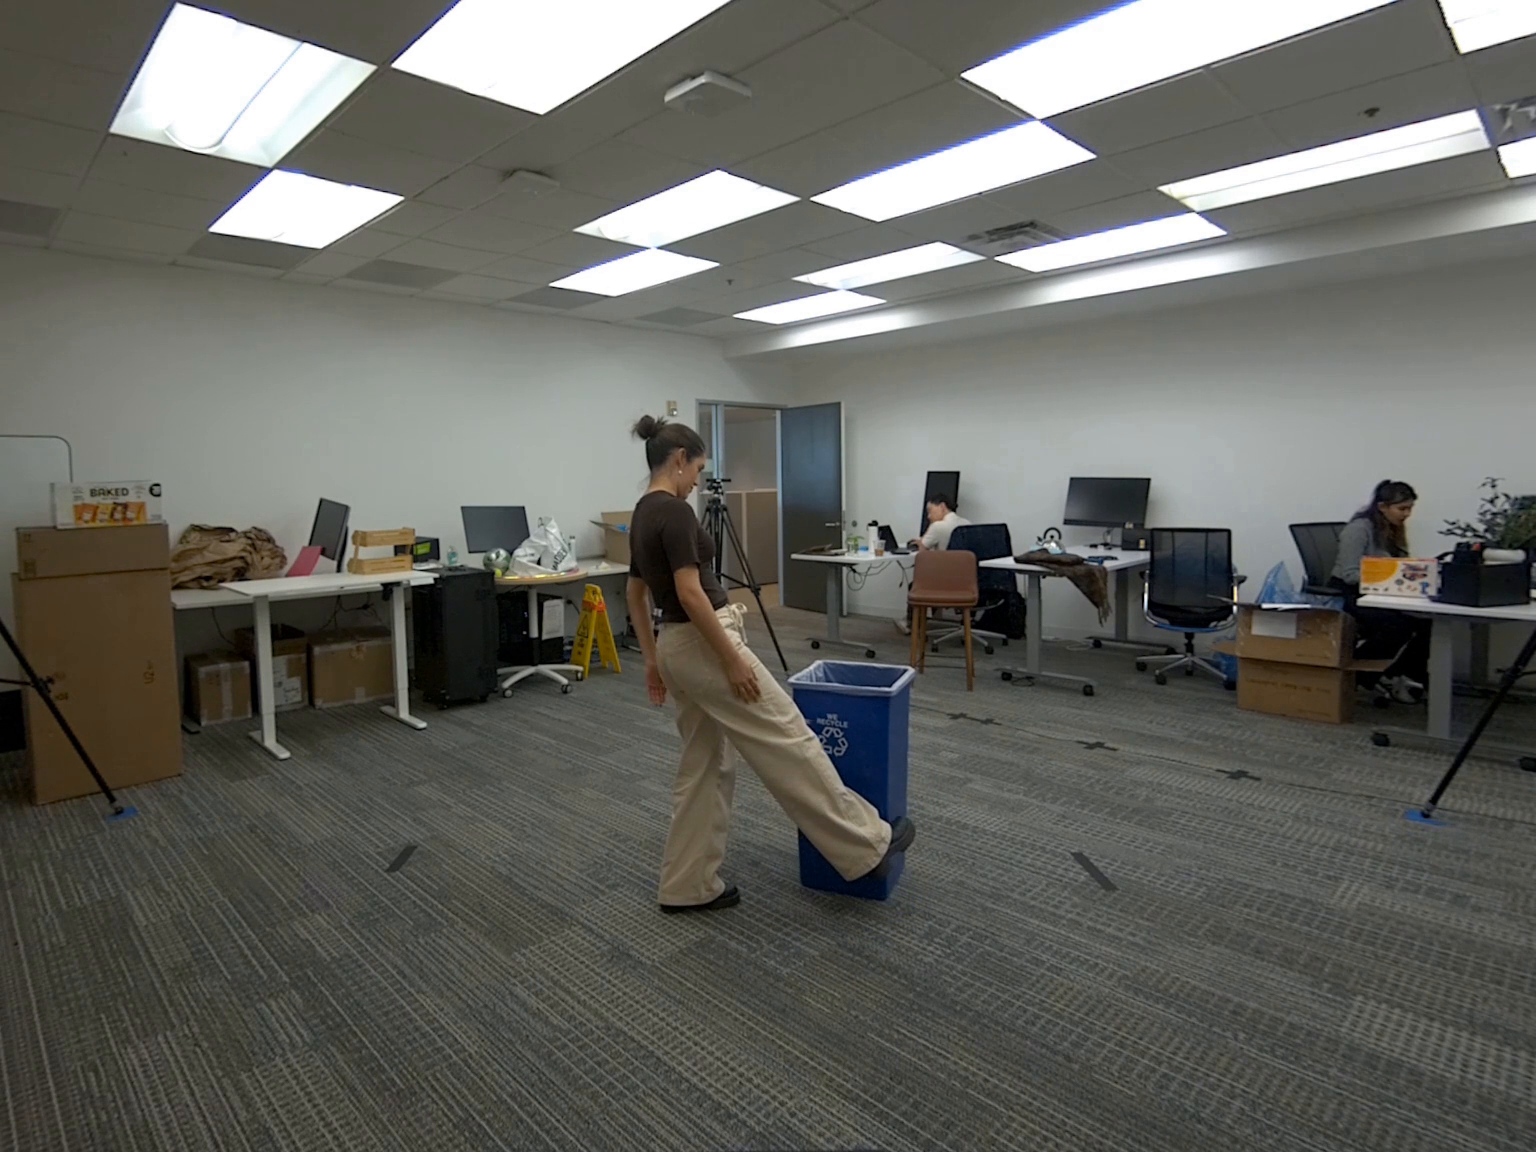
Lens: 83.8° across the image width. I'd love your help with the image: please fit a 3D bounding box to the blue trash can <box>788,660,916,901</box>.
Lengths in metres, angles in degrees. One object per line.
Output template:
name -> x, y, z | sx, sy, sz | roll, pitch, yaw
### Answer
blue trash can -> 0.302, 0.692, 2.977 | 0.386, 0.711, 0.367 | 1, 3, 22
